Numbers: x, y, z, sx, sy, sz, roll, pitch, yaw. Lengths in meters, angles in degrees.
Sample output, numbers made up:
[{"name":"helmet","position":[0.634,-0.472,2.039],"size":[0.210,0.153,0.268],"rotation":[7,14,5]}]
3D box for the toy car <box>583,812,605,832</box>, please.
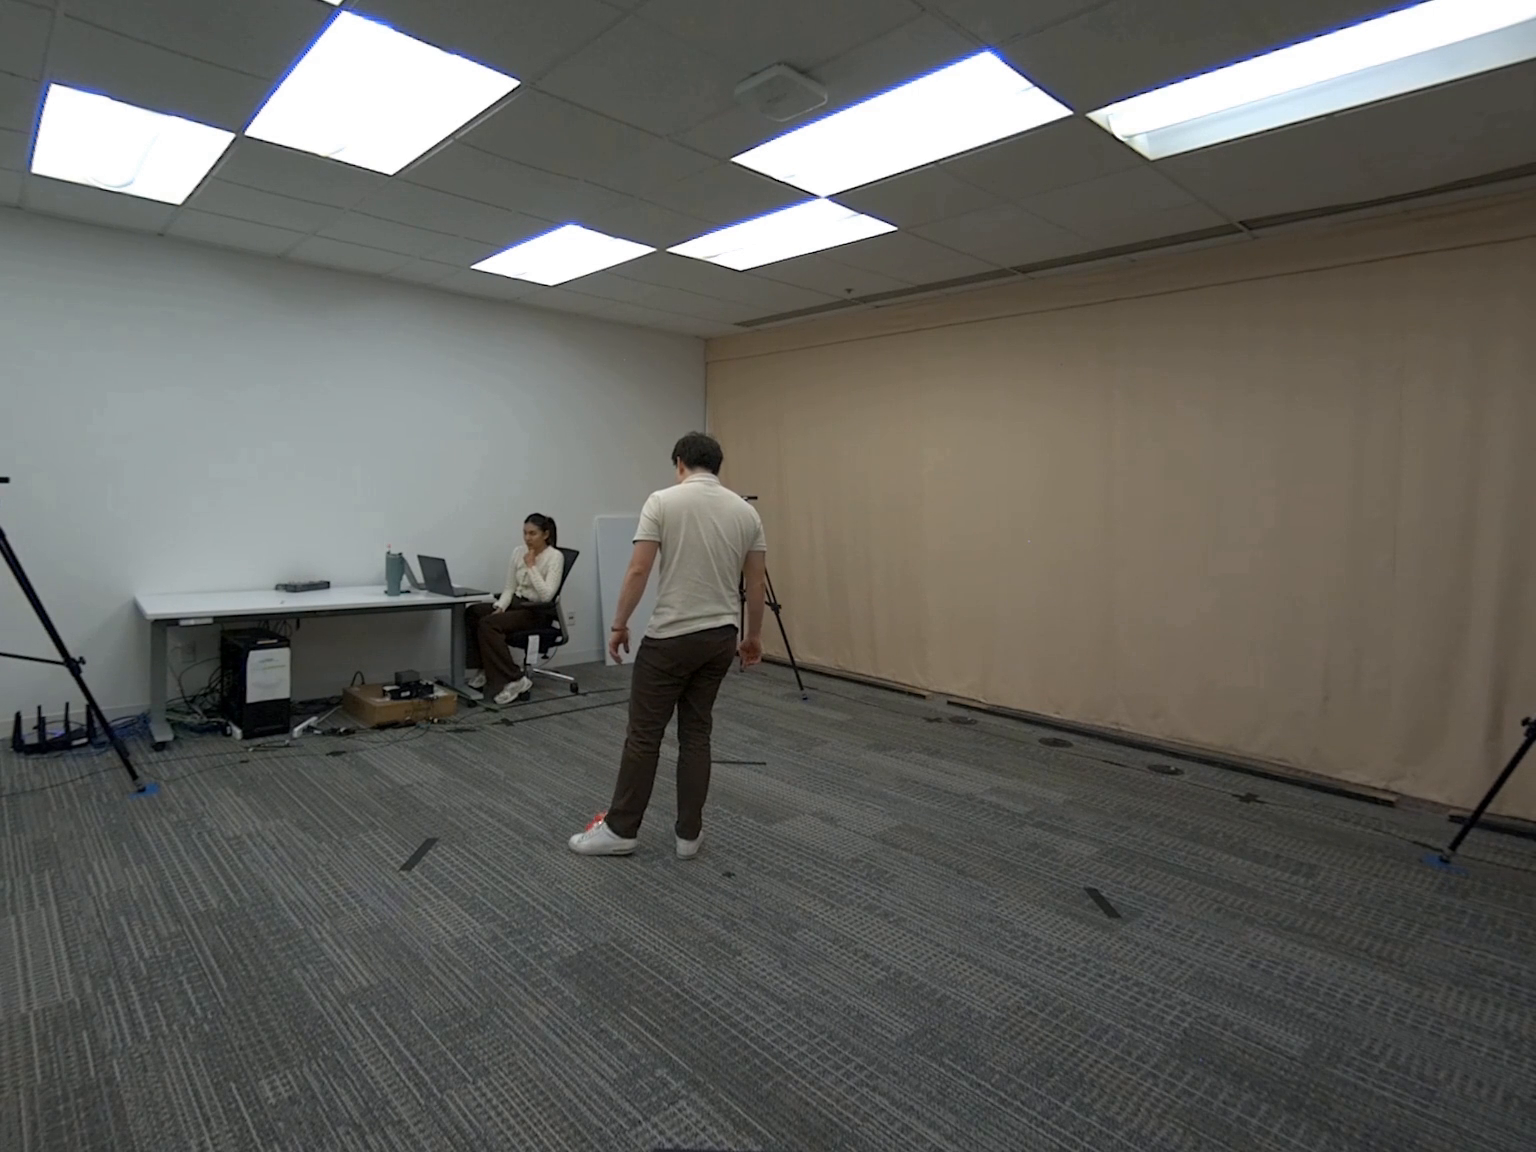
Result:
[{"name":"toy car","position":[-0.675,1.030,3.452],"size":[0.131,0.083,0.252],"rotation":[3,-5,6]}]
